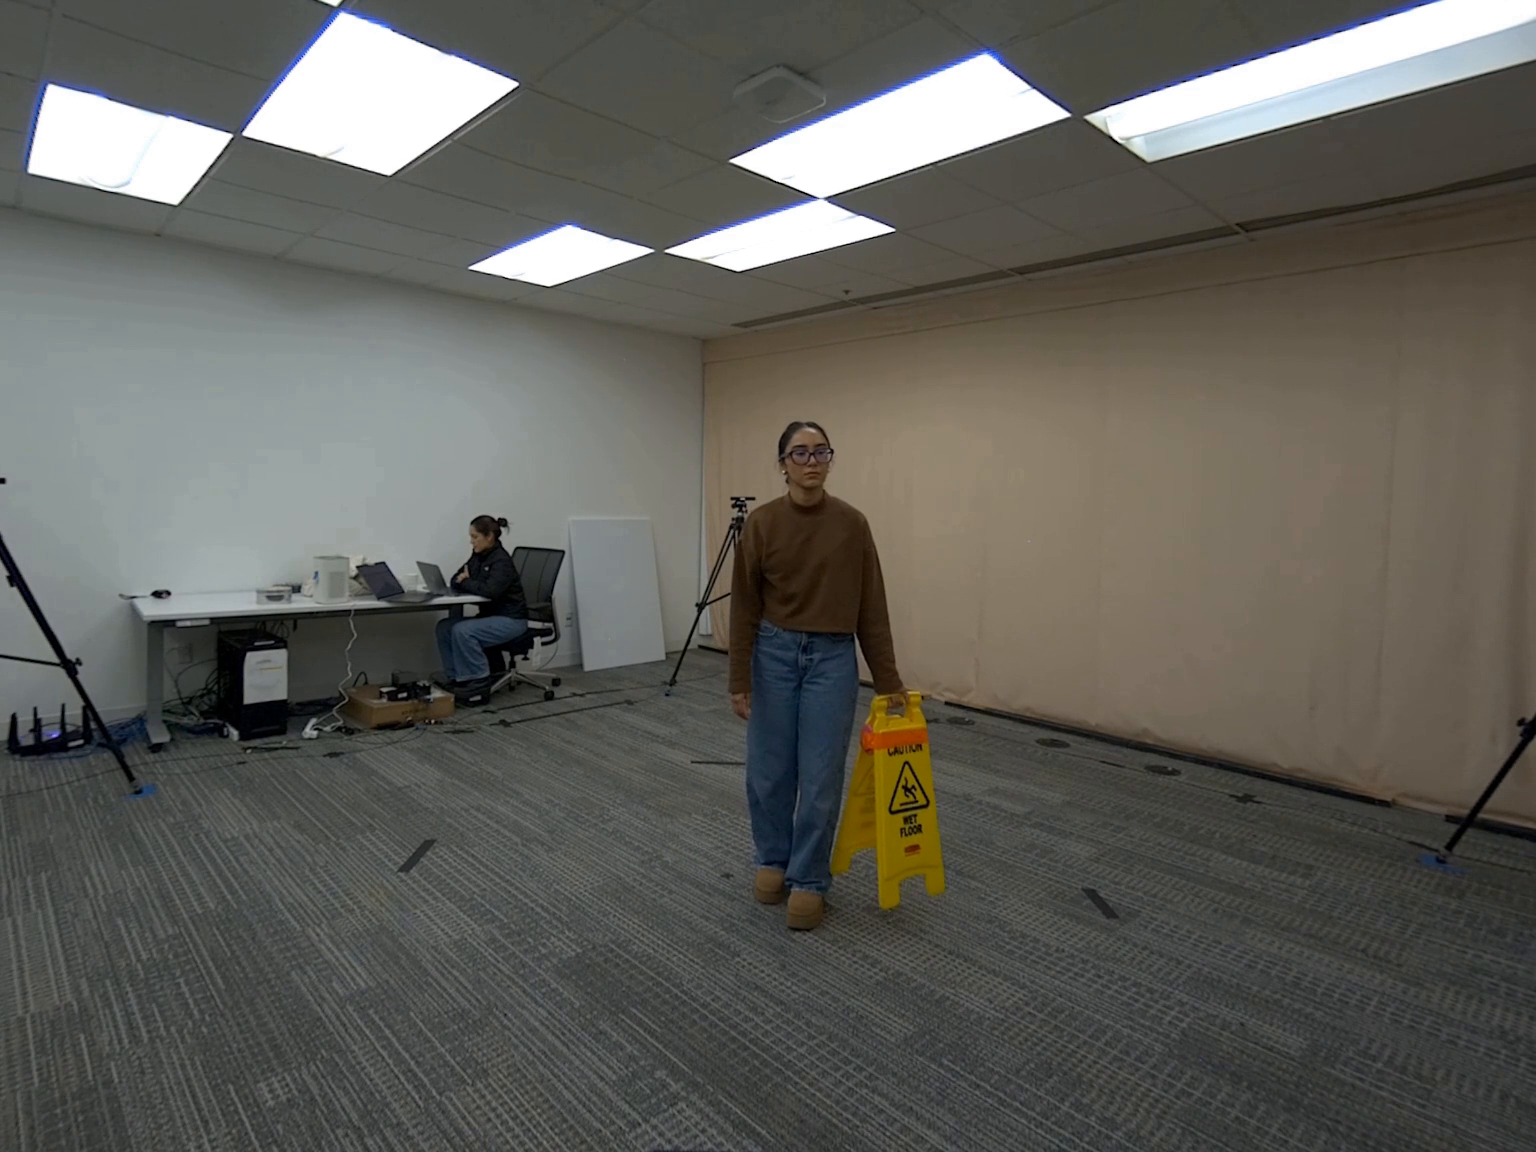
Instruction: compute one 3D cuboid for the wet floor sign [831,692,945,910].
[{"bbox_3d":[0.403,0.711,2.810,0.276,0.644,0.297,1,4,-33],"label":"wet floor sign"}]
